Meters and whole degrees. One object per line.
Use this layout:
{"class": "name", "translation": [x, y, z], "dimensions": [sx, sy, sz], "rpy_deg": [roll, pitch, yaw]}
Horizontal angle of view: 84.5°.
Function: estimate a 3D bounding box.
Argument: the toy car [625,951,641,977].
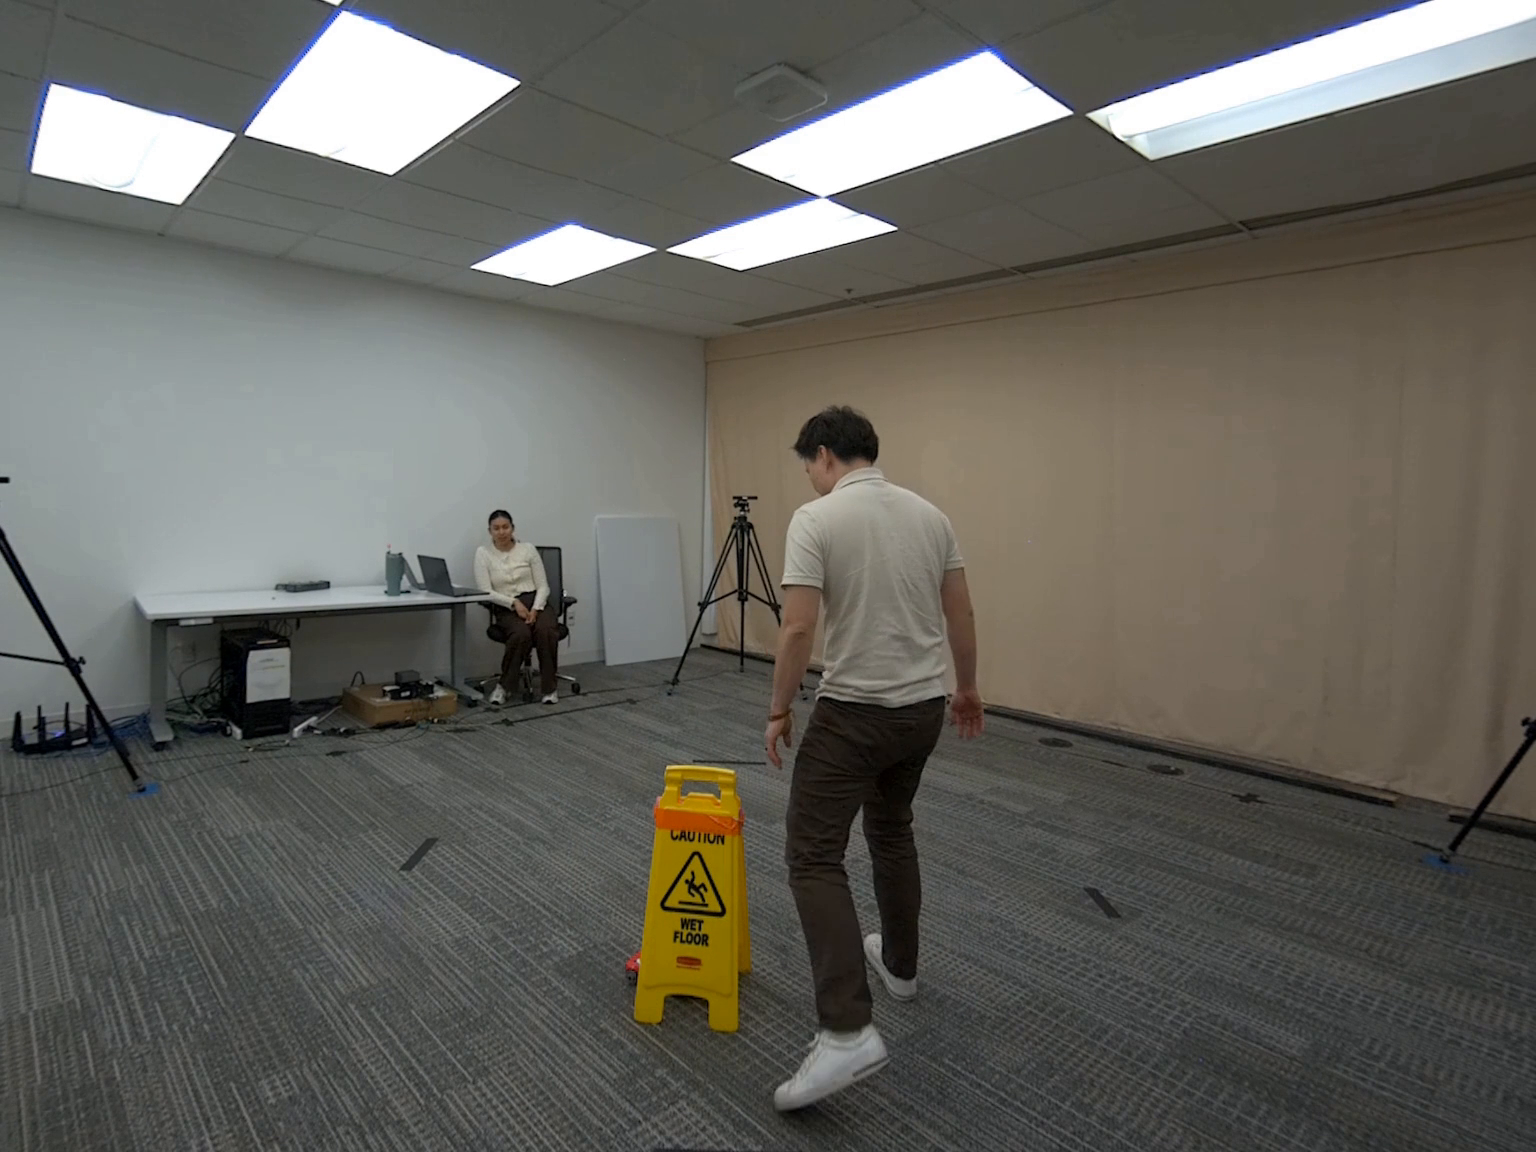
{"class": "toy car", "translation": [-0.279, 1.140, 2.389], "dimensions": [0.258, 0.083, 0.128], "rpy_deg": [-9, 0, 26]}
